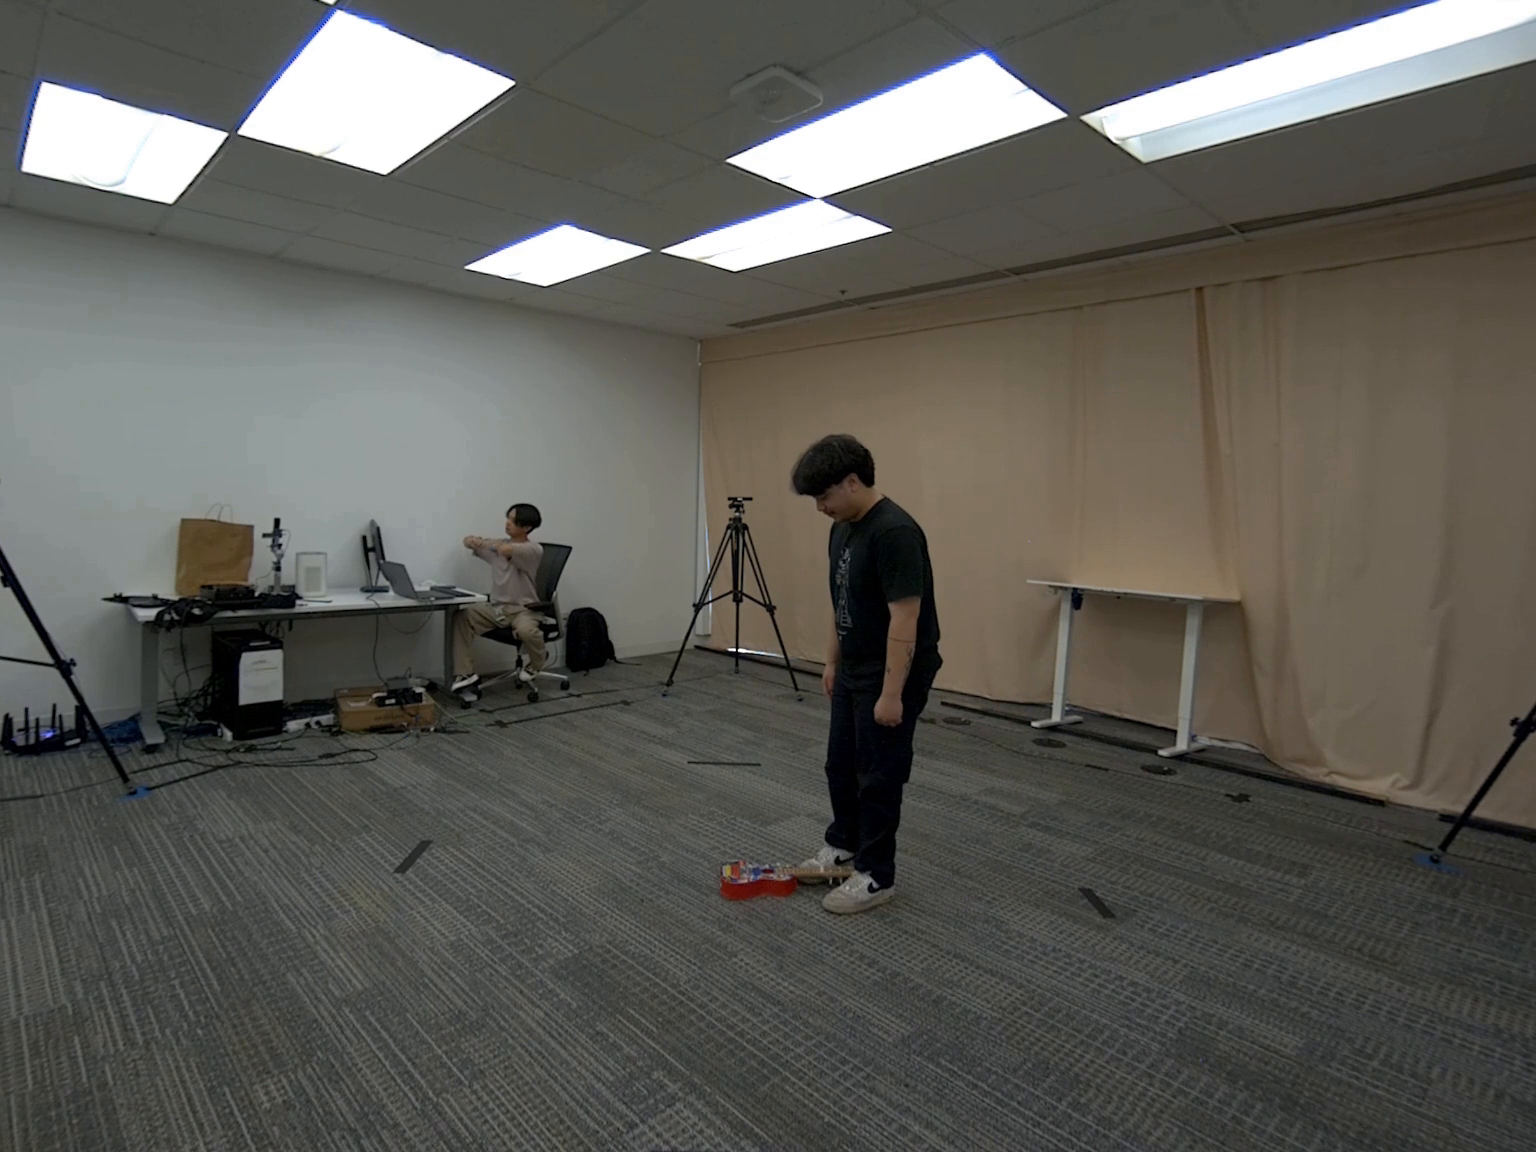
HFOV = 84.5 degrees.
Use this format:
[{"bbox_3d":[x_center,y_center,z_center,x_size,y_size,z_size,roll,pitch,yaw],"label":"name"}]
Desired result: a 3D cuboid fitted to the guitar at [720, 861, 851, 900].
[{"bbox_3d":[0.064,1.082,2.992,0.501,0.070,0.192,1,4,7],"label":"guitar"}]
